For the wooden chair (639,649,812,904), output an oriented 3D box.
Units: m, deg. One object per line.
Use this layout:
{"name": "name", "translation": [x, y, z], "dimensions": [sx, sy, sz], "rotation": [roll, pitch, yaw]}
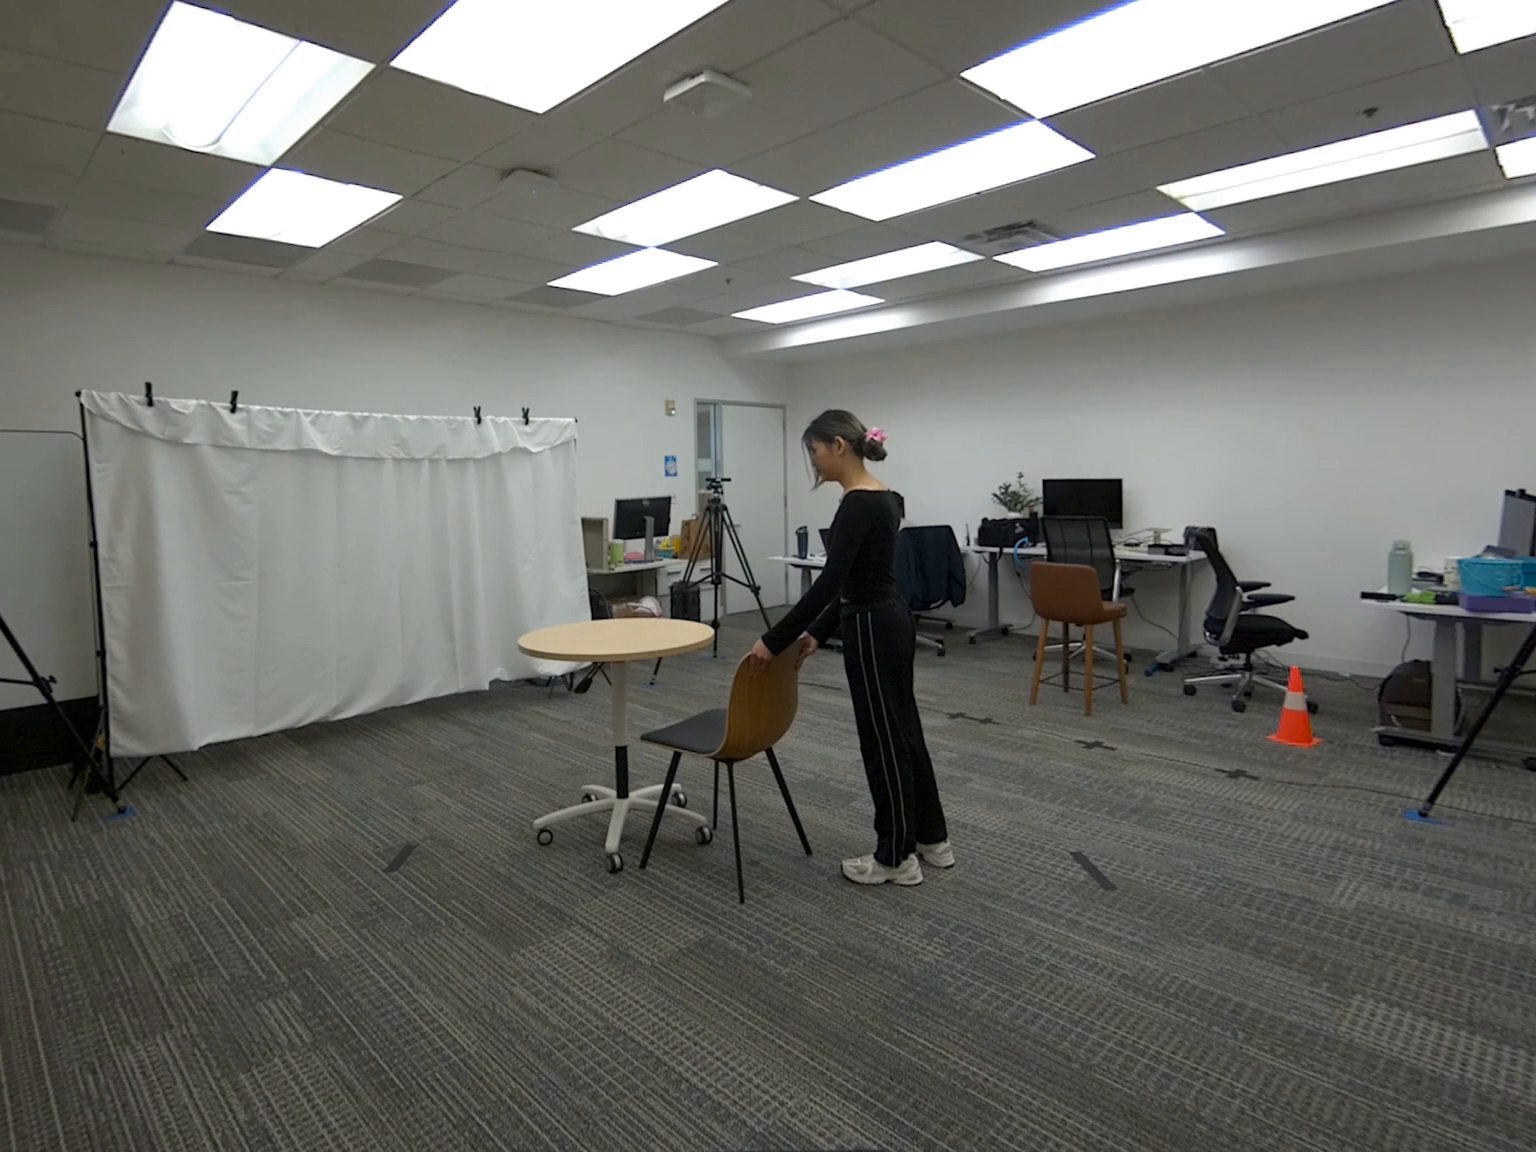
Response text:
{"name": "wooden chair", "translation": [-0.158, 0.617, 3.085], "dimensions": [0.539, 0.872, 0.466], "rotation": [7, 8, 35]}
